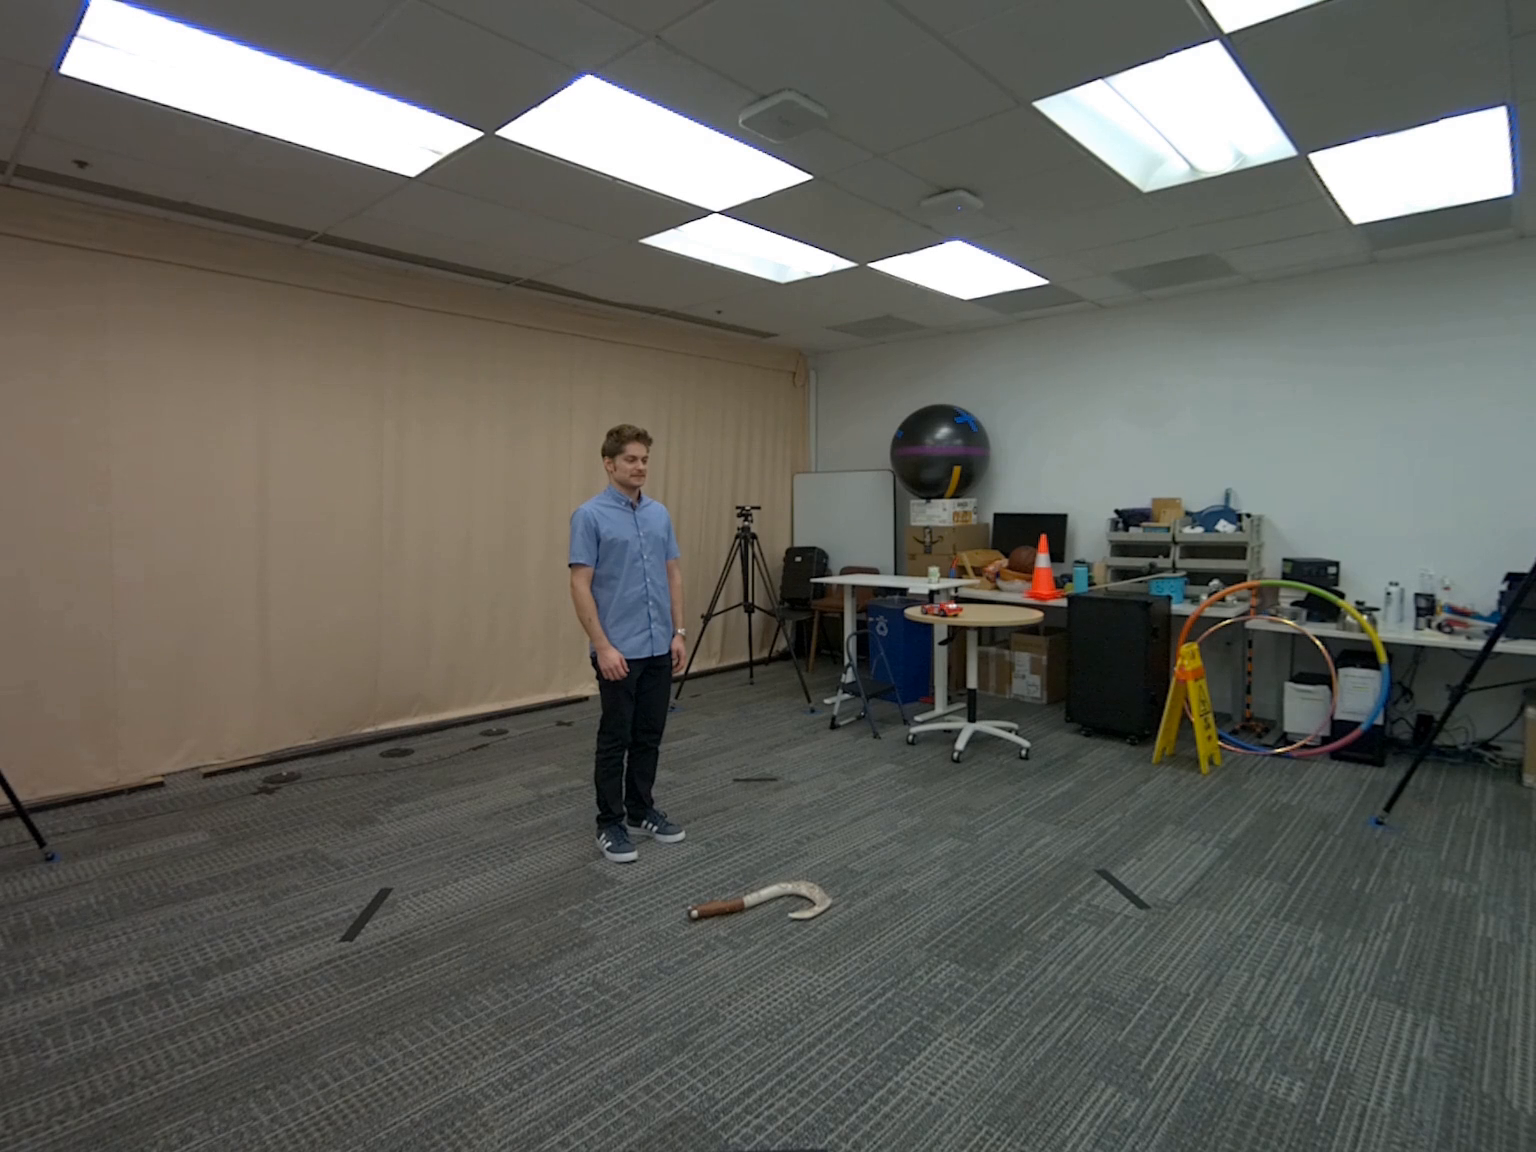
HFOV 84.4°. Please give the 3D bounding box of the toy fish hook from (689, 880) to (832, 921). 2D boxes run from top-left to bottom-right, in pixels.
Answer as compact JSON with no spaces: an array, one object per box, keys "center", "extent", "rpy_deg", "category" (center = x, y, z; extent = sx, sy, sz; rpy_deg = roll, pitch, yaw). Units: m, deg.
[{"center":[-0.020,1.131,2.879],"extent":[0.495,0.048,0.230],"rpy_deg":[-2,4,-24],"category":"toy fish hook"}]
